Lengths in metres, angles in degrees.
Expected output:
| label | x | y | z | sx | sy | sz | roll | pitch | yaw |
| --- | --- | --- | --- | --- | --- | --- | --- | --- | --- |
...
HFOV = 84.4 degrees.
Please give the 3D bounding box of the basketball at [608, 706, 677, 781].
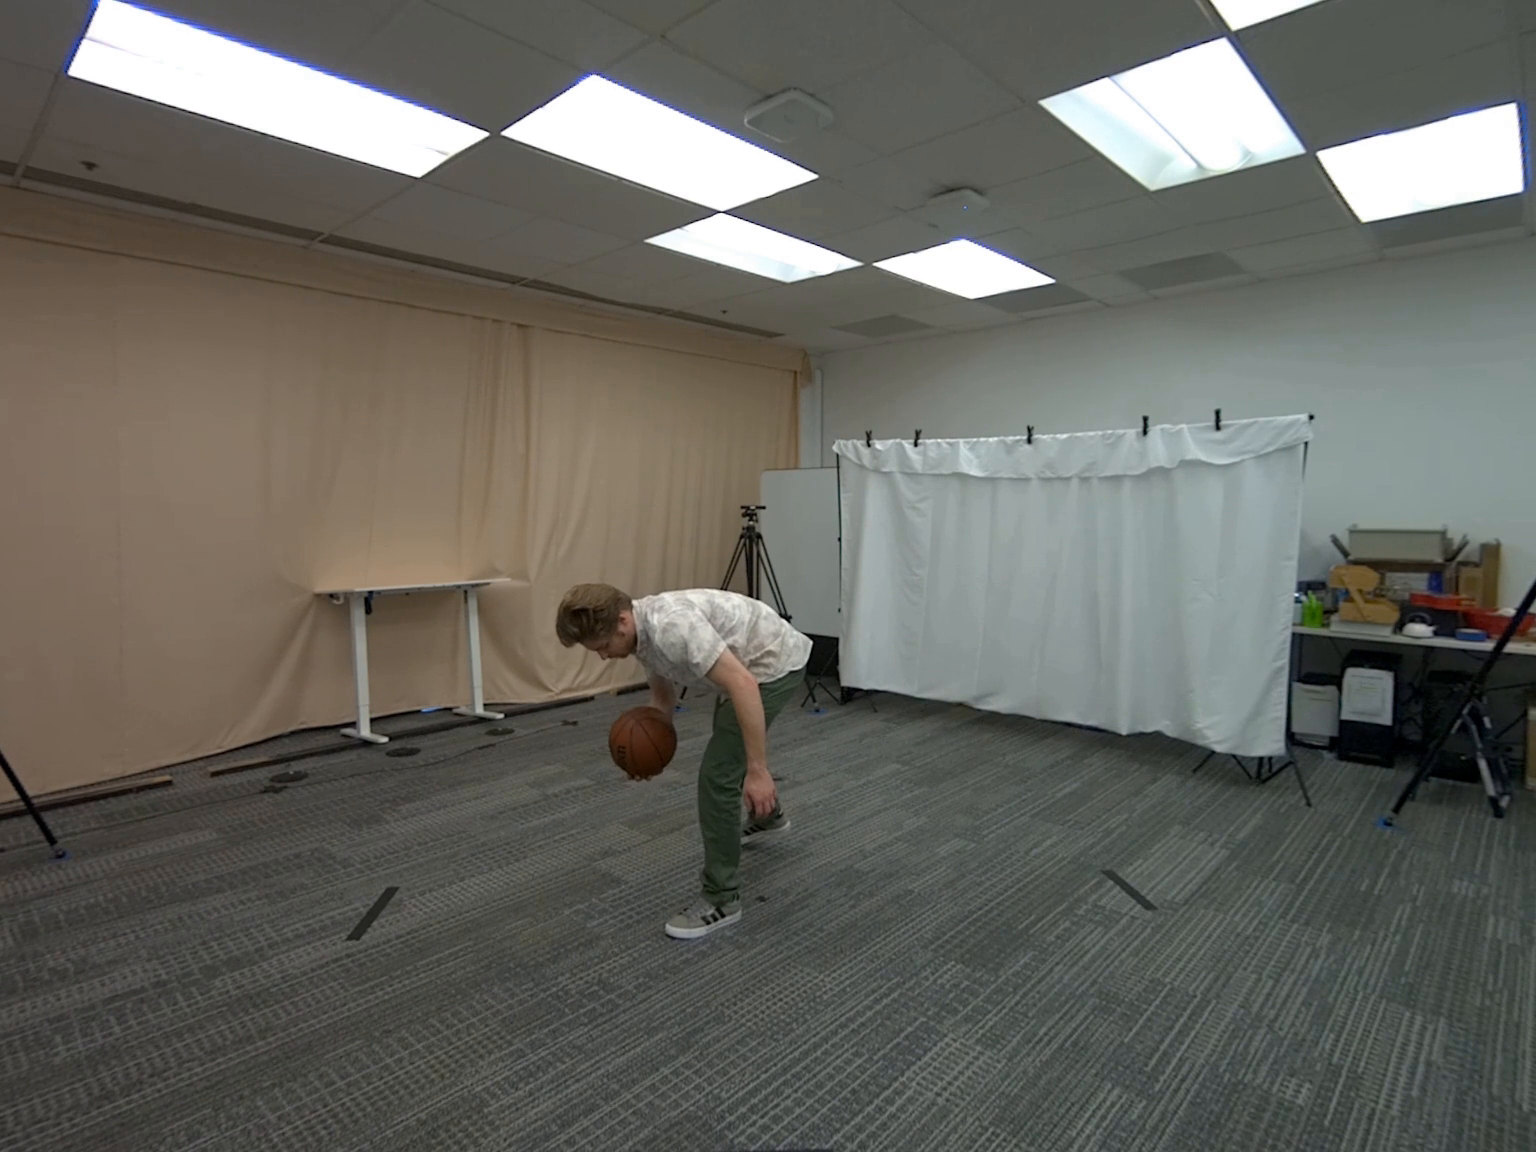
| label | x | y | z | sx | sy | sz | roll | pitch | yaw |
| --- | --- | --- | --- | --- | --- | --- | --- | --- | --- |
| basketball | -0.444 | 0.583 | 2.951 | 0.236 | 0.235 | 0.237 | 0 | 4 | -2 |
